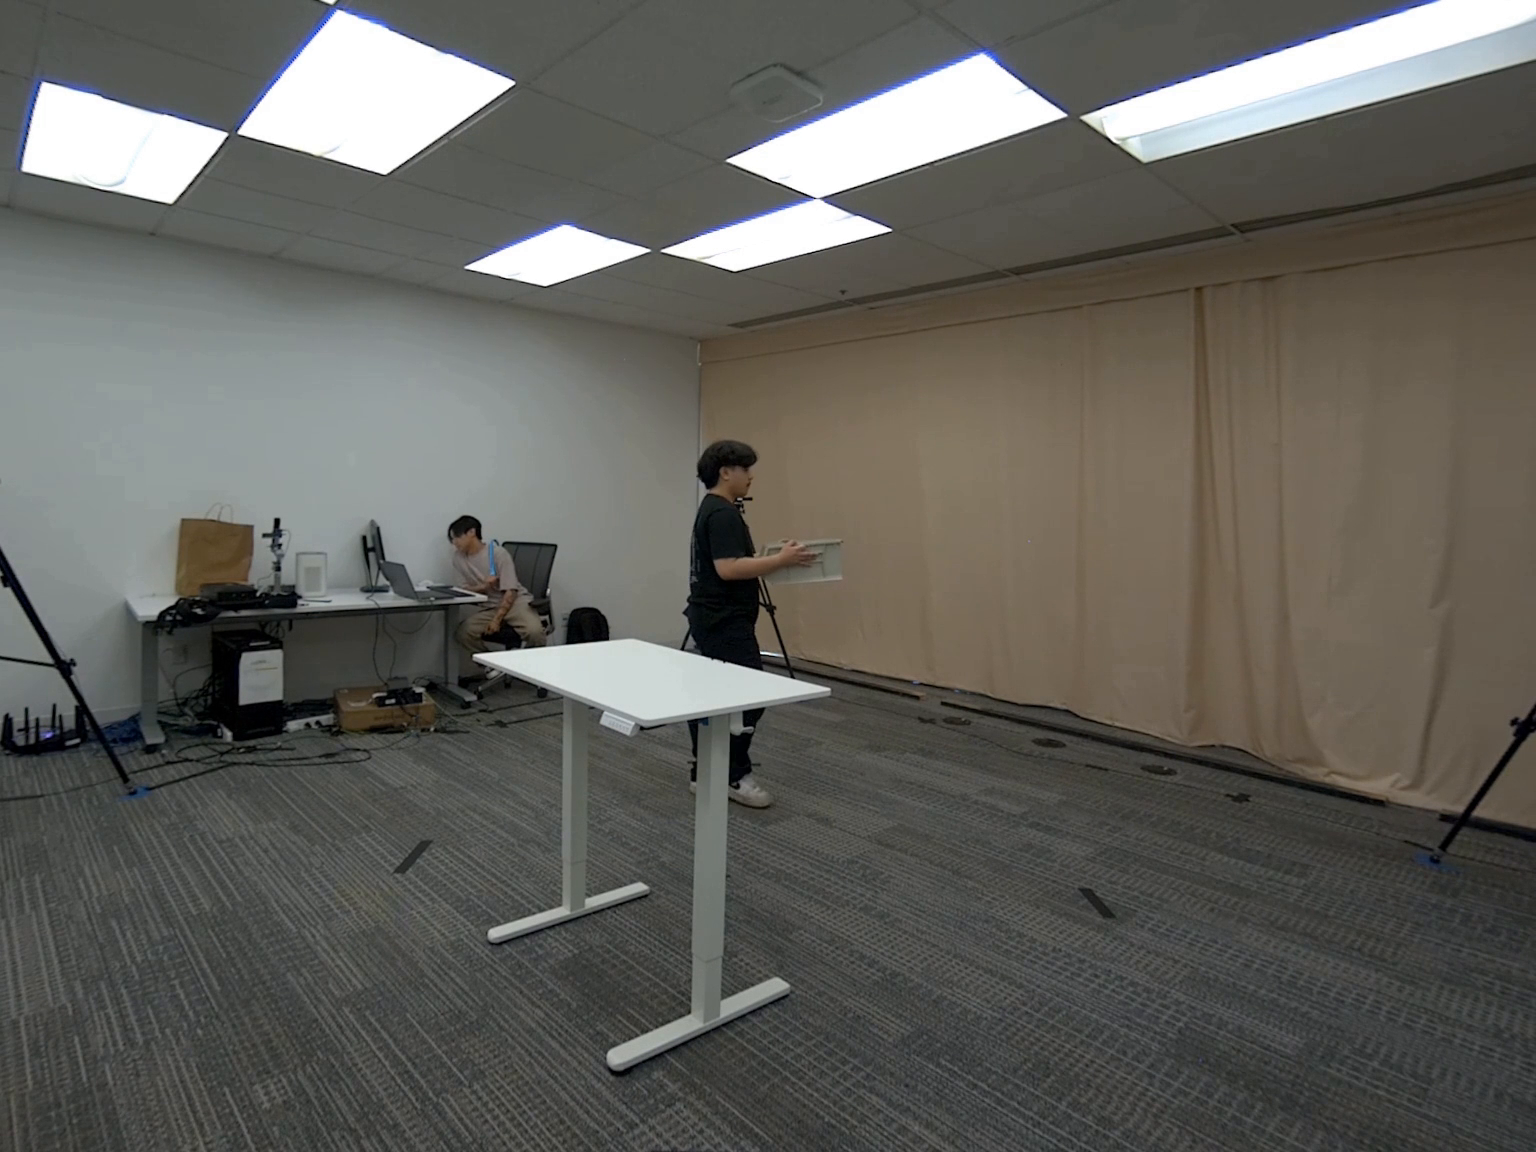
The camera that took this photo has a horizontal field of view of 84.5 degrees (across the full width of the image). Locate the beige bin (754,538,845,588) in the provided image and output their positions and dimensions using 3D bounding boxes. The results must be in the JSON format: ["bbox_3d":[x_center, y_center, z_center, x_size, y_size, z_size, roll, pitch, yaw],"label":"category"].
[{"bbox_3d":[0.134,-0.066,3.977,0.377,0.189,0.423,-5,2,-1],"label":"beige bin"}]
